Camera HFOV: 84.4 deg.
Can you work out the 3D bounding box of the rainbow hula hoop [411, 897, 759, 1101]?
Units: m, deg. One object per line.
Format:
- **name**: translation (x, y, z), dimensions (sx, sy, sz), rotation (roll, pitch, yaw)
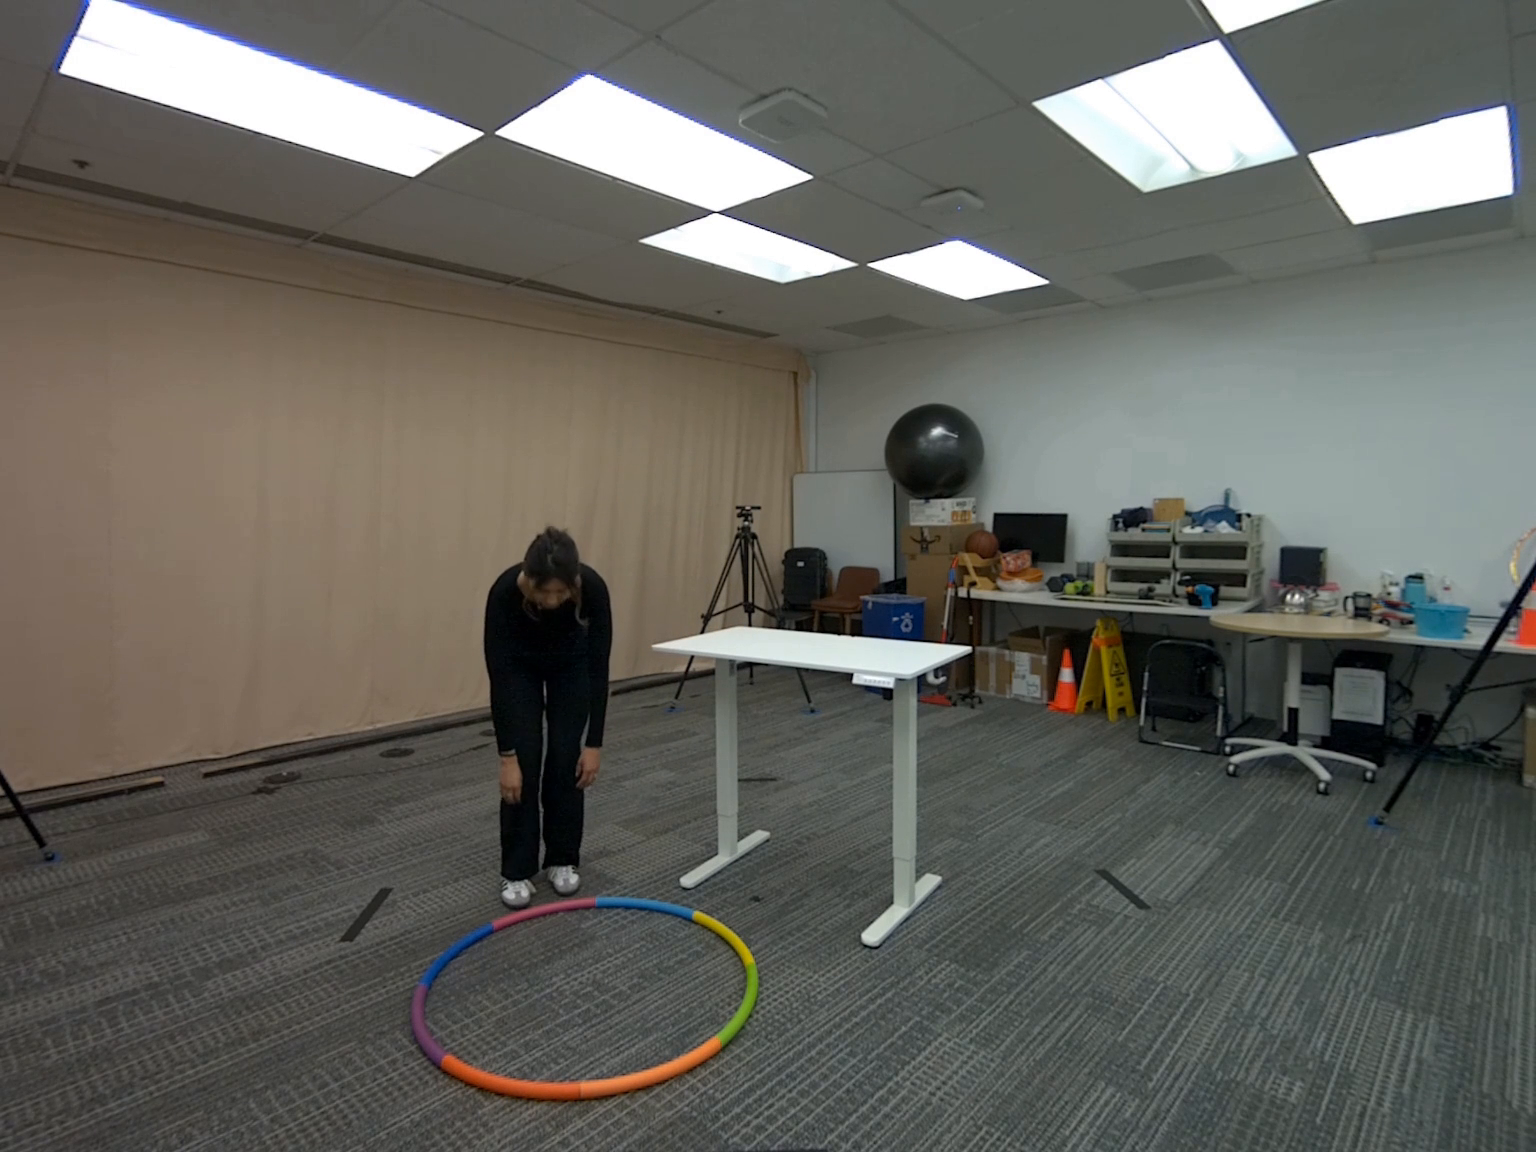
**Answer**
- **rainbow hula hoop**: translation (-0.513, 1.165, 2.452), dimensions (0.978, 0.035, 0.982), rotation (0, 4, -2)
